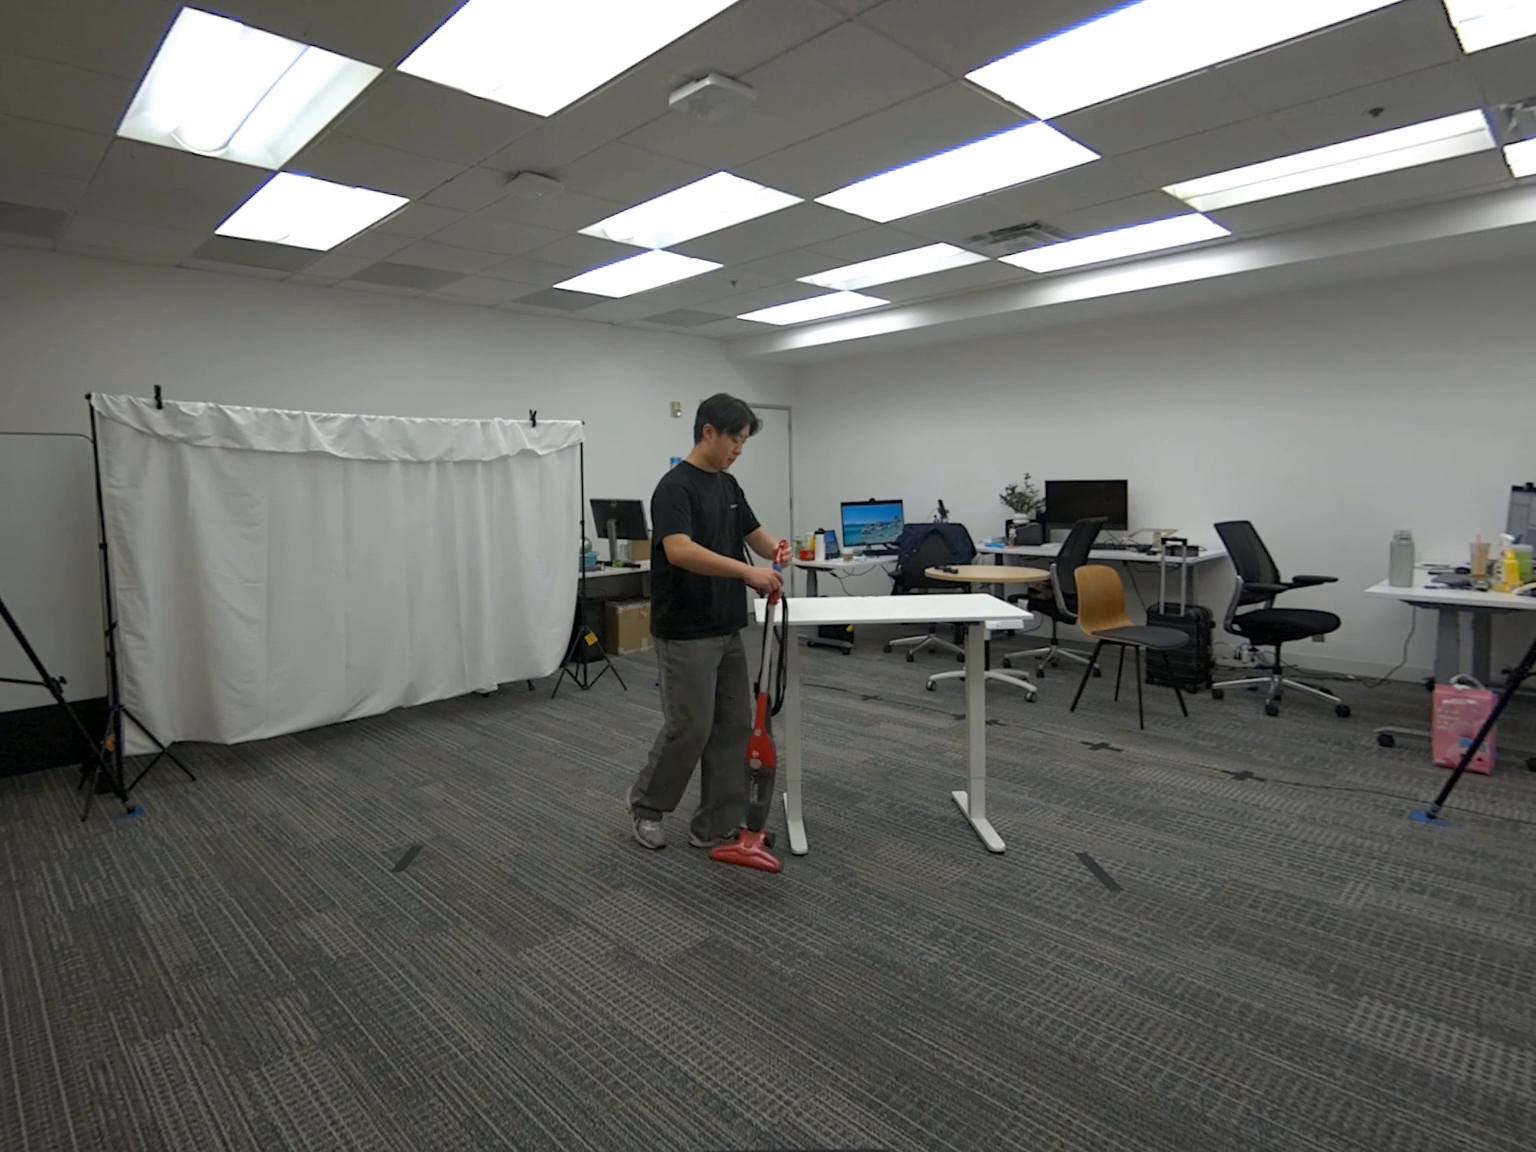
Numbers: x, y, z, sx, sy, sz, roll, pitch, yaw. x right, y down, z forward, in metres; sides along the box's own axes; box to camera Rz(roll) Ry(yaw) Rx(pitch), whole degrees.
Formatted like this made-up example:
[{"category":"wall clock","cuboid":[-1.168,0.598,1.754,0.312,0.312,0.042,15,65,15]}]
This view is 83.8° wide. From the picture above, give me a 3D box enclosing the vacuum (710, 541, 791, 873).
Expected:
[{"category":"vacuum","cuboid":[0.002,0.407,2.940,0.257,1.057,0.140,3,-9,17]}]
